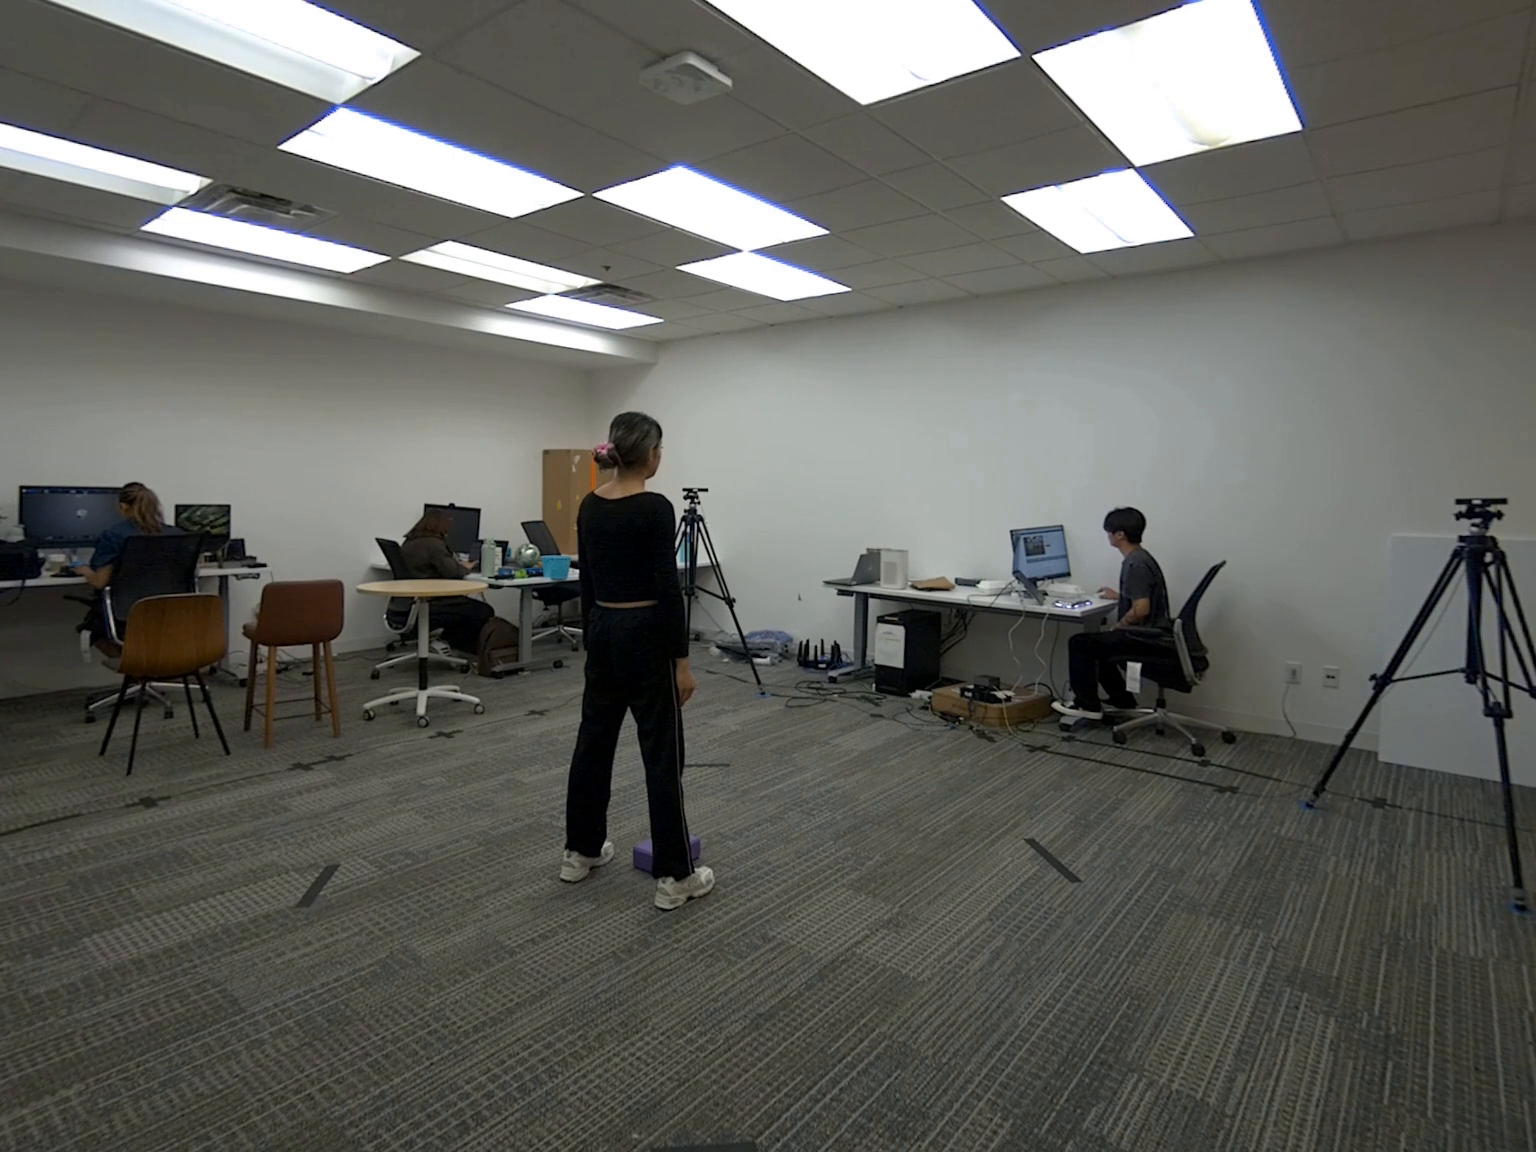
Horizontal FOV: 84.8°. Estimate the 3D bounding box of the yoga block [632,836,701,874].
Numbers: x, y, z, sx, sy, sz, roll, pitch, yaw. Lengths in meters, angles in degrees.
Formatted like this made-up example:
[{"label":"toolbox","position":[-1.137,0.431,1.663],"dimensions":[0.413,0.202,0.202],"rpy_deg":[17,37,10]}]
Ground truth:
[{"label":"yoga block","position":[-0.384,1.018,3.162],"dimensions":[0.154,0.076,0.223],"rpy_deg":[3,4,35]}]
